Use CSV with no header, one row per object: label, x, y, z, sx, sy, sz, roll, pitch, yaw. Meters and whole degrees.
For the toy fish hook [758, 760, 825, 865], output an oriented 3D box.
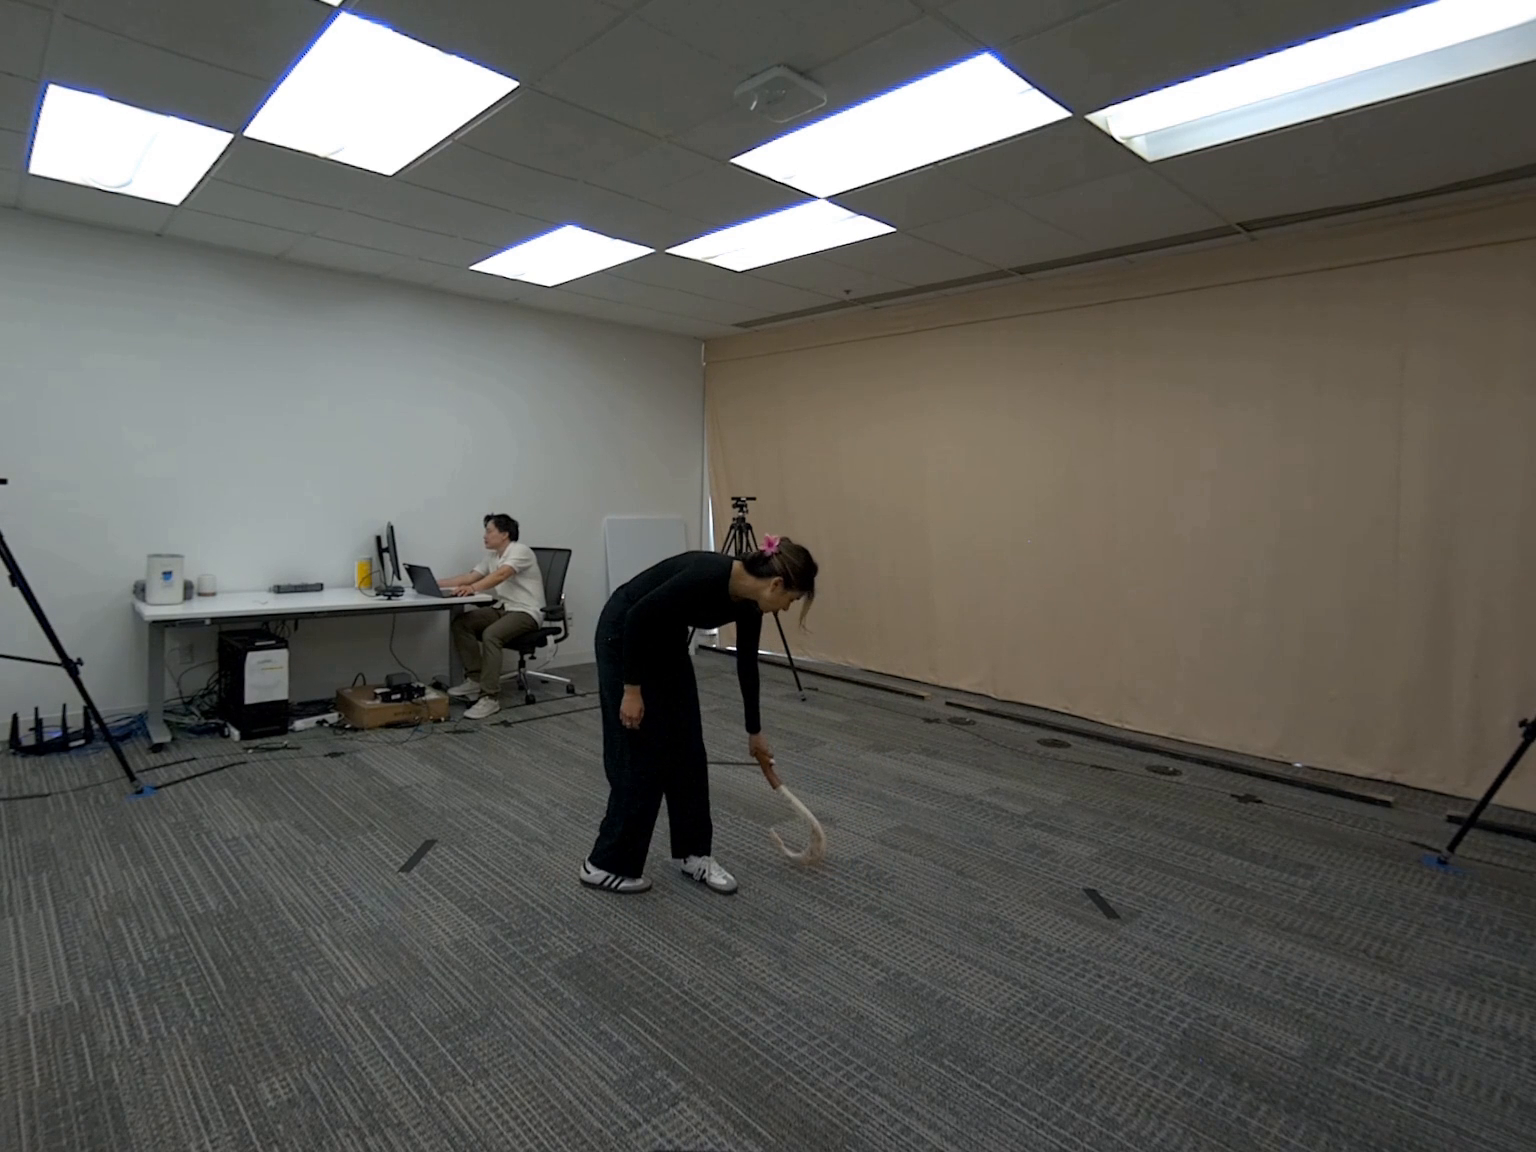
toy fish hook,0.029,0.877,3.223,0.225,0.516,0.047,-40,-19,23
